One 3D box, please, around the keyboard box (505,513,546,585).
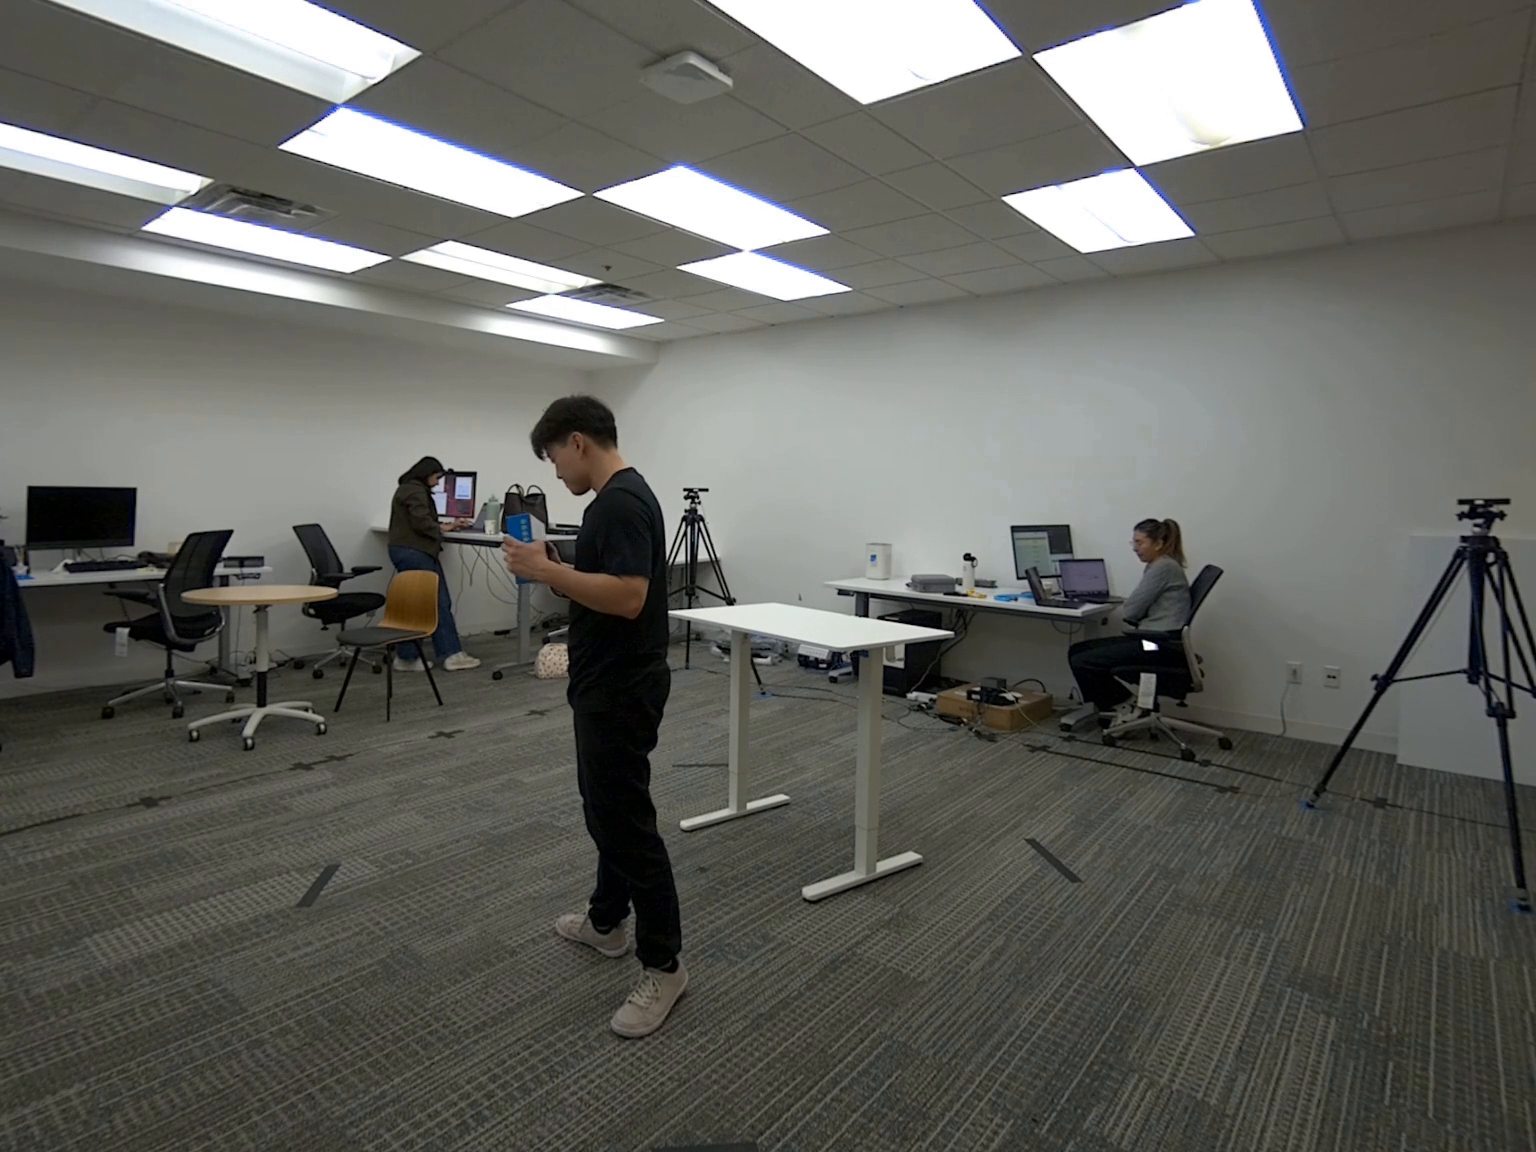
[{"bbox_3d":[-0.653,-0.067,2.338,0.059,0.176,0.439,-10,1,-9],"label":"keyboard box"}]
